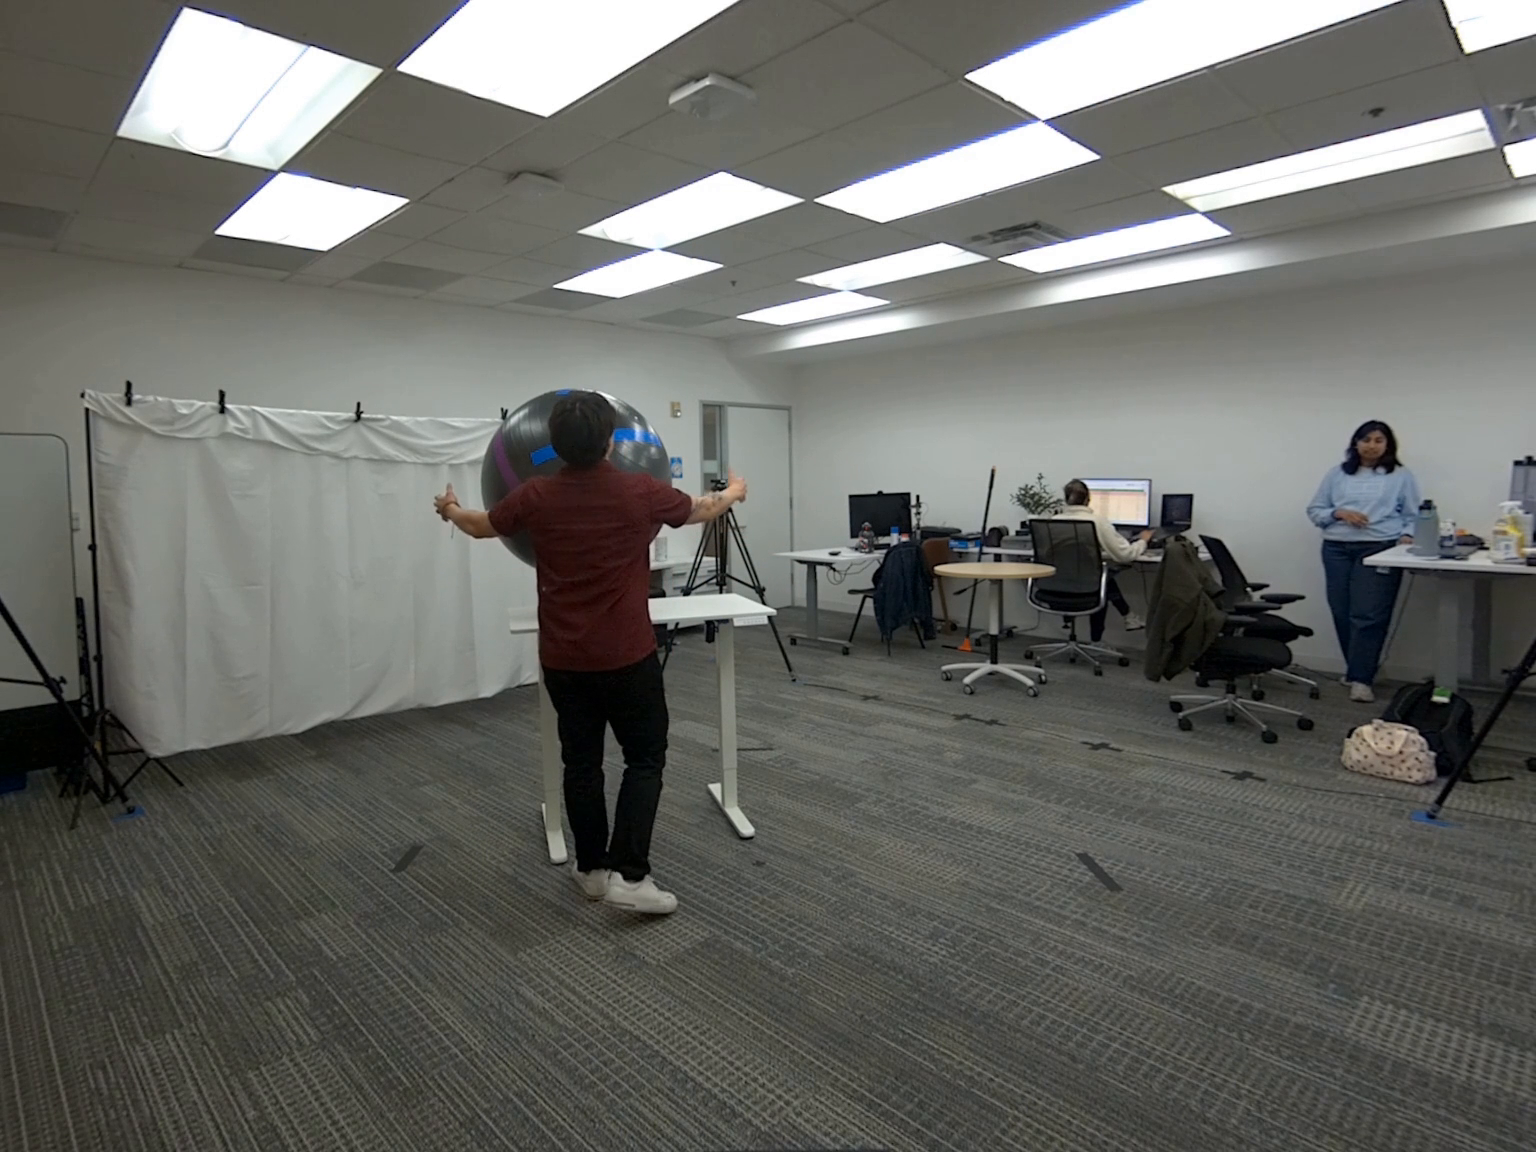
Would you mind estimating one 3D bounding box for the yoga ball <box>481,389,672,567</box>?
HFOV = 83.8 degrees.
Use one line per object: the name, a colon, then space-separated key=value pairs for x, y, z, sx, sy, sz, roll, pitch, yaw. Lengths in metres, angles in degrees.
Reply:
yoga ball: x=-0.775 y=-0.364 z=3.452 sx=0.757 sy=0.755 sz=0.762 roll=-1 pitch=5 yaw=-2
